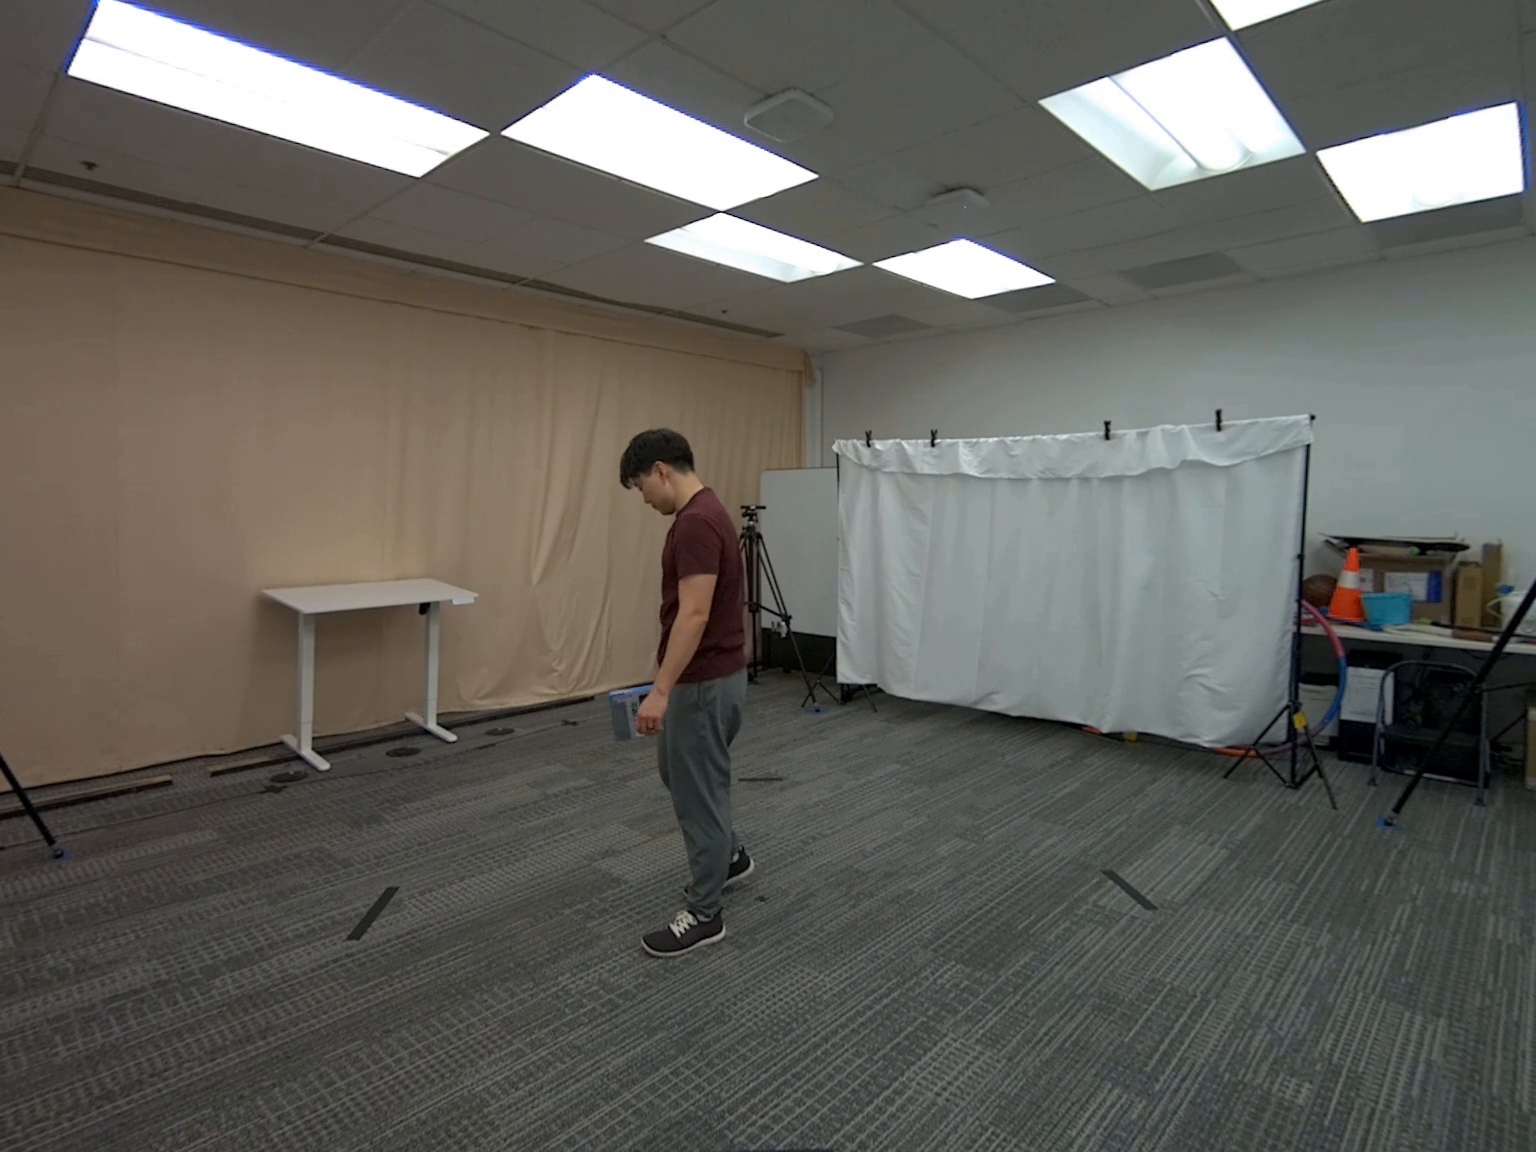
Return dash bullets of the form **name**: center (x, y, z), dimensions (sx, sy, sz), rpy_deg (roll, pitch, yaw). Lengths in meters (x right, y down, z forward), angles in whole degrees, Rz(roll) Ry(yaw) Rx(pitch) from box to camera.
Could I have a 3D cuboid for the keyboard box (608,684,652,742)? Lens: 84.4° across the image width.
- **keyboard box**: center (-0.342, 0.473, 3.039), dimensions (0.435, 0.175, 0.059), rpy_deg (-8, 5, -4)
